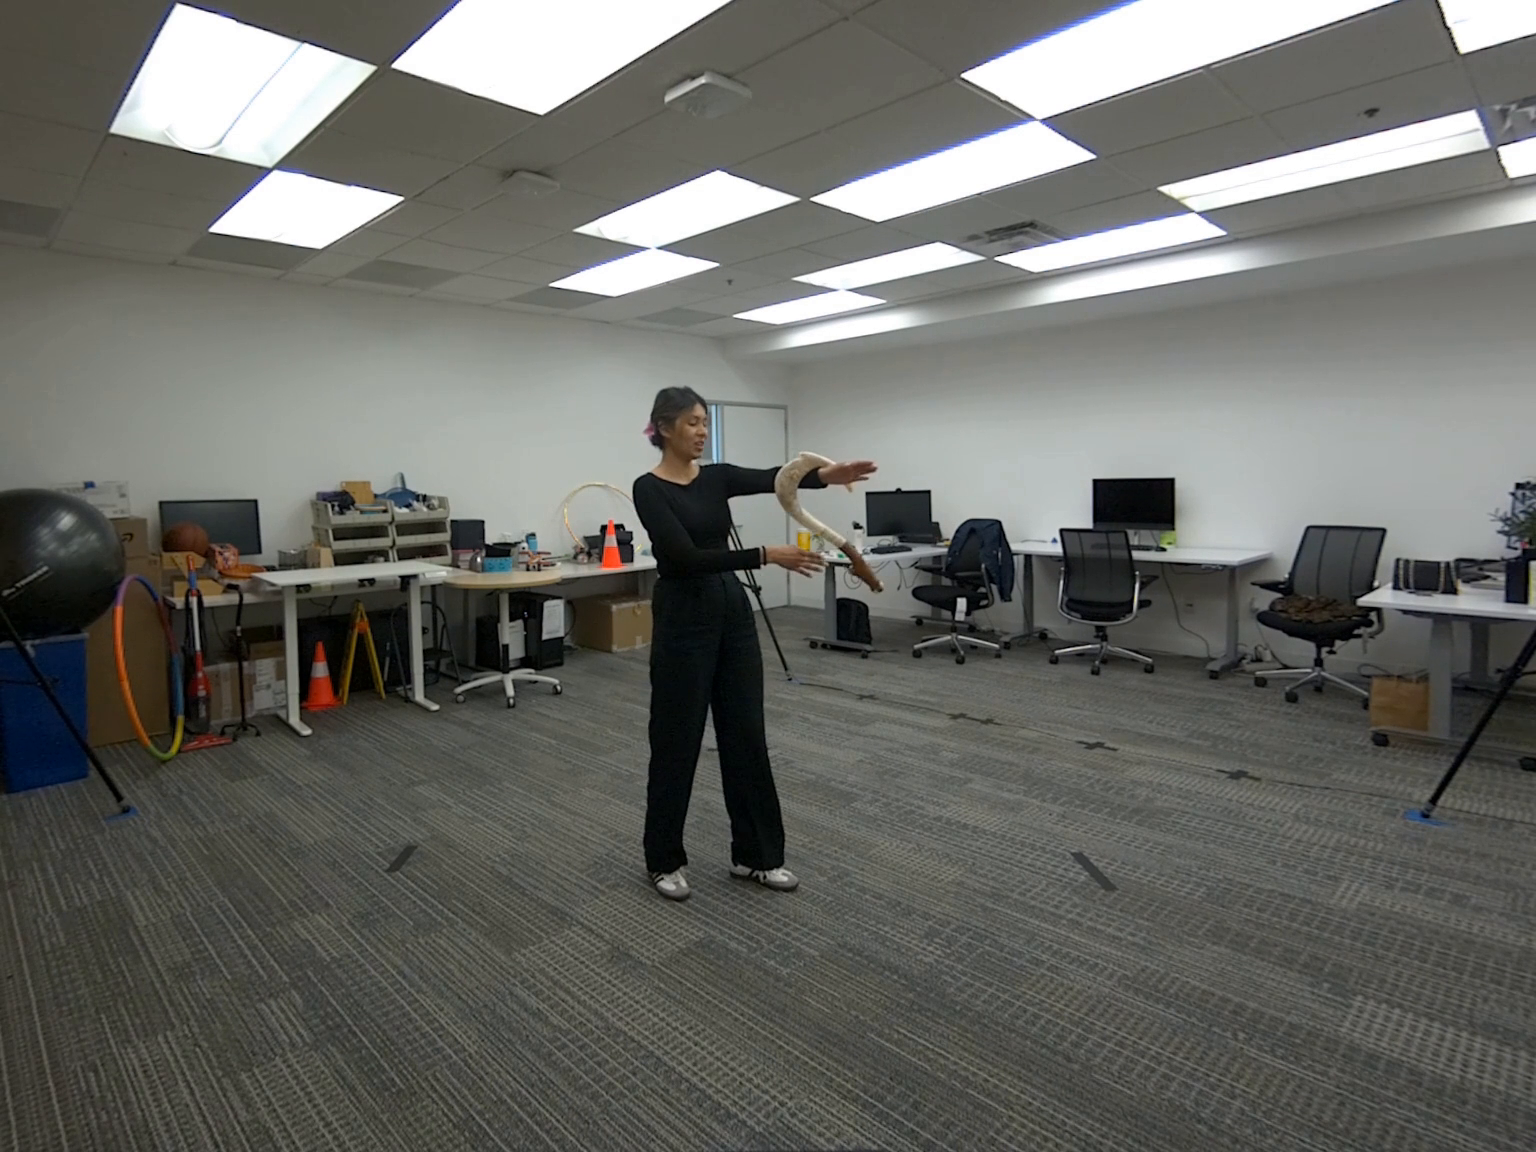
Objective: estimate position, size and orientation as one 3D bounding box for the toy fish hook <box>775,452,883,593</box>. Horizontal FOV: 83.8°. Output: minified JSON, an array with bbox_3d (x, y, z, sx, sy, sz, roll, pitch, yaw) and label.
[{"bbox_3d":[0.223,-0.161,2.649,0.225,0.501,0.048,-37,9,20],"label":"toy fish hook"}]
